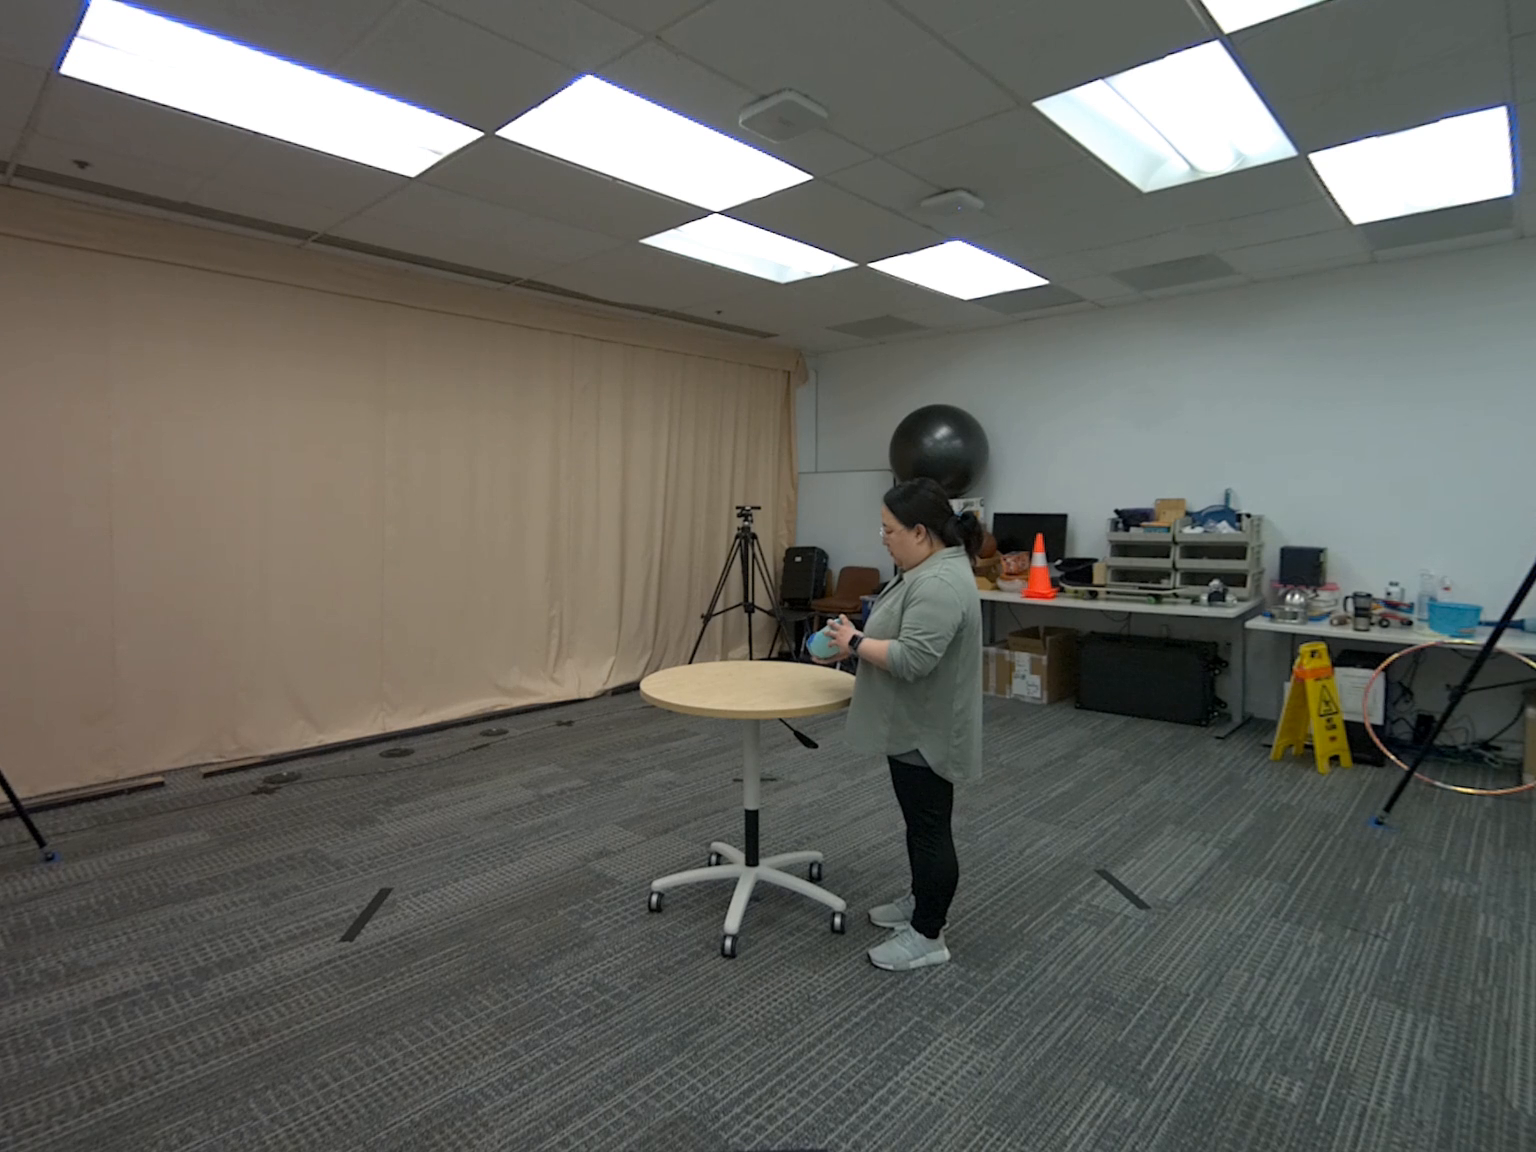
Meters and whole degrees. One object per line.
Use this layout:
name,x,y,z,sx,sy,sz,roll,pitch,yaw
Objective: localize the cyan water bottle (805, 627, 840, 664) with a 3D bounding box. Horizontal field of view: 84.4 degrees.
cyan water bottle,0.206,0.213,2.707,0.091,0.093,0.284,-1,-14,-14
